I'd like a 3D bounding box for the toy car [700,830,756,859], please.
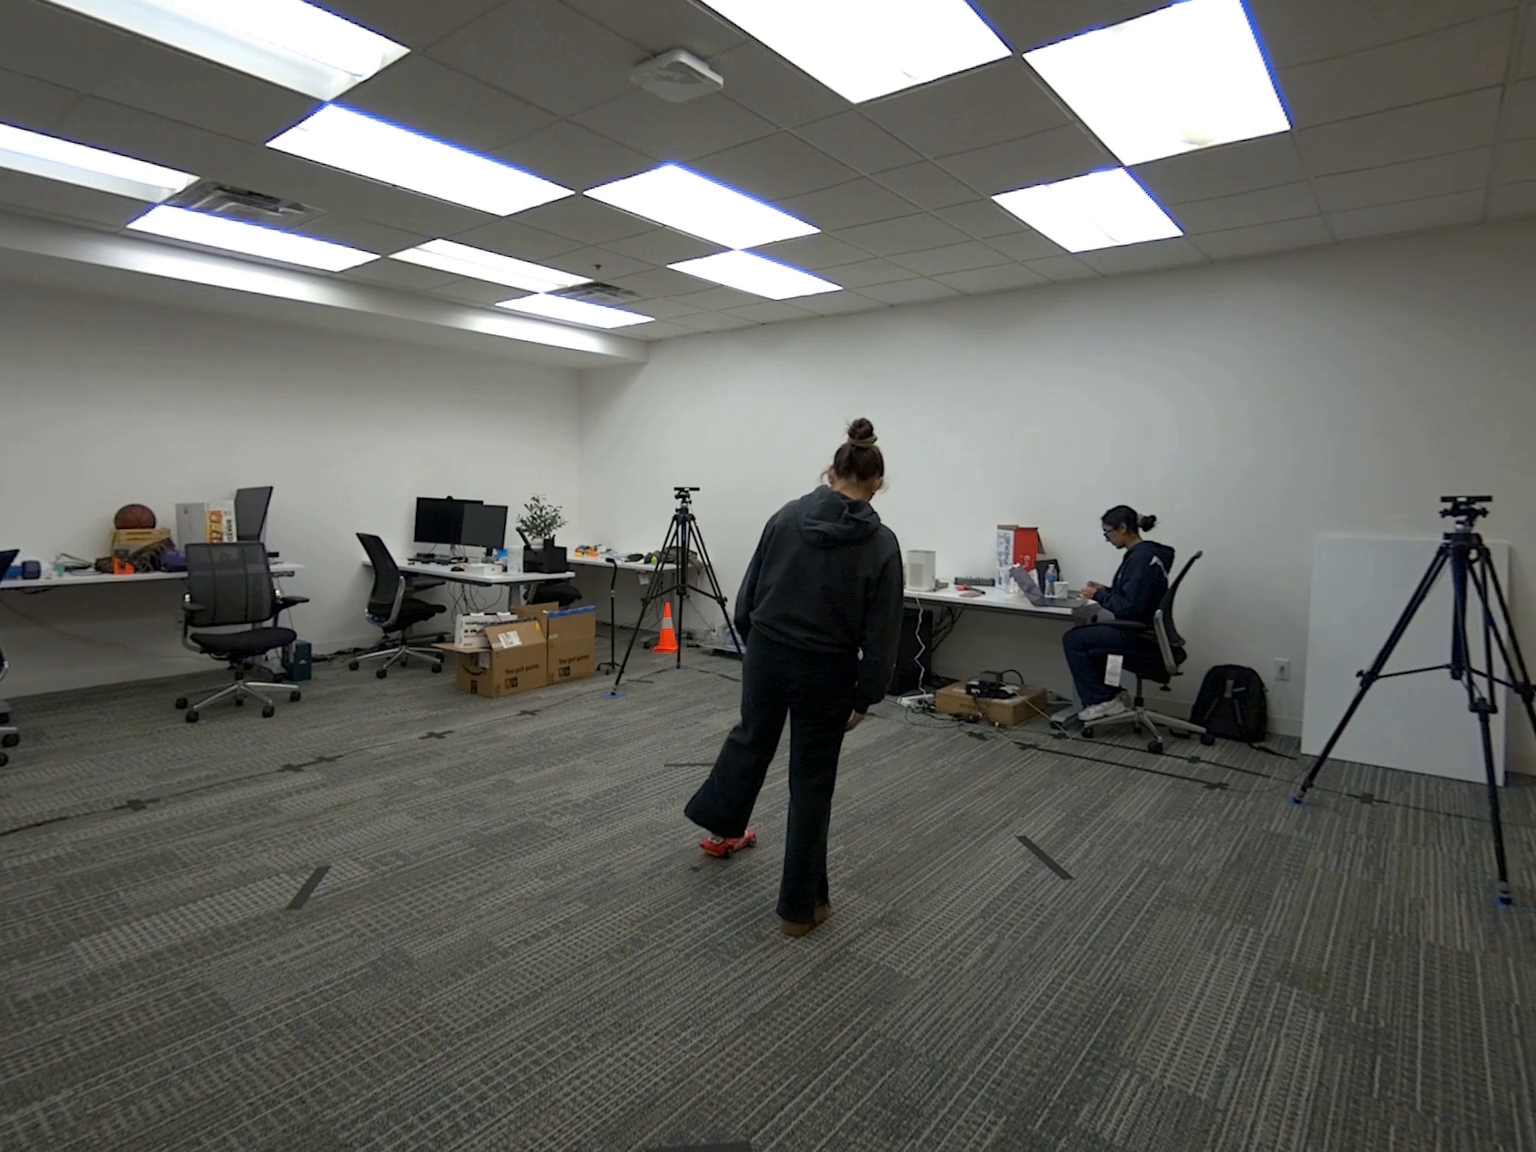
[{"bbox_3d":[-0.159,1.019,3.268,0.135,0.083,0.245,4,-4,39],"label":"toy car"}]
